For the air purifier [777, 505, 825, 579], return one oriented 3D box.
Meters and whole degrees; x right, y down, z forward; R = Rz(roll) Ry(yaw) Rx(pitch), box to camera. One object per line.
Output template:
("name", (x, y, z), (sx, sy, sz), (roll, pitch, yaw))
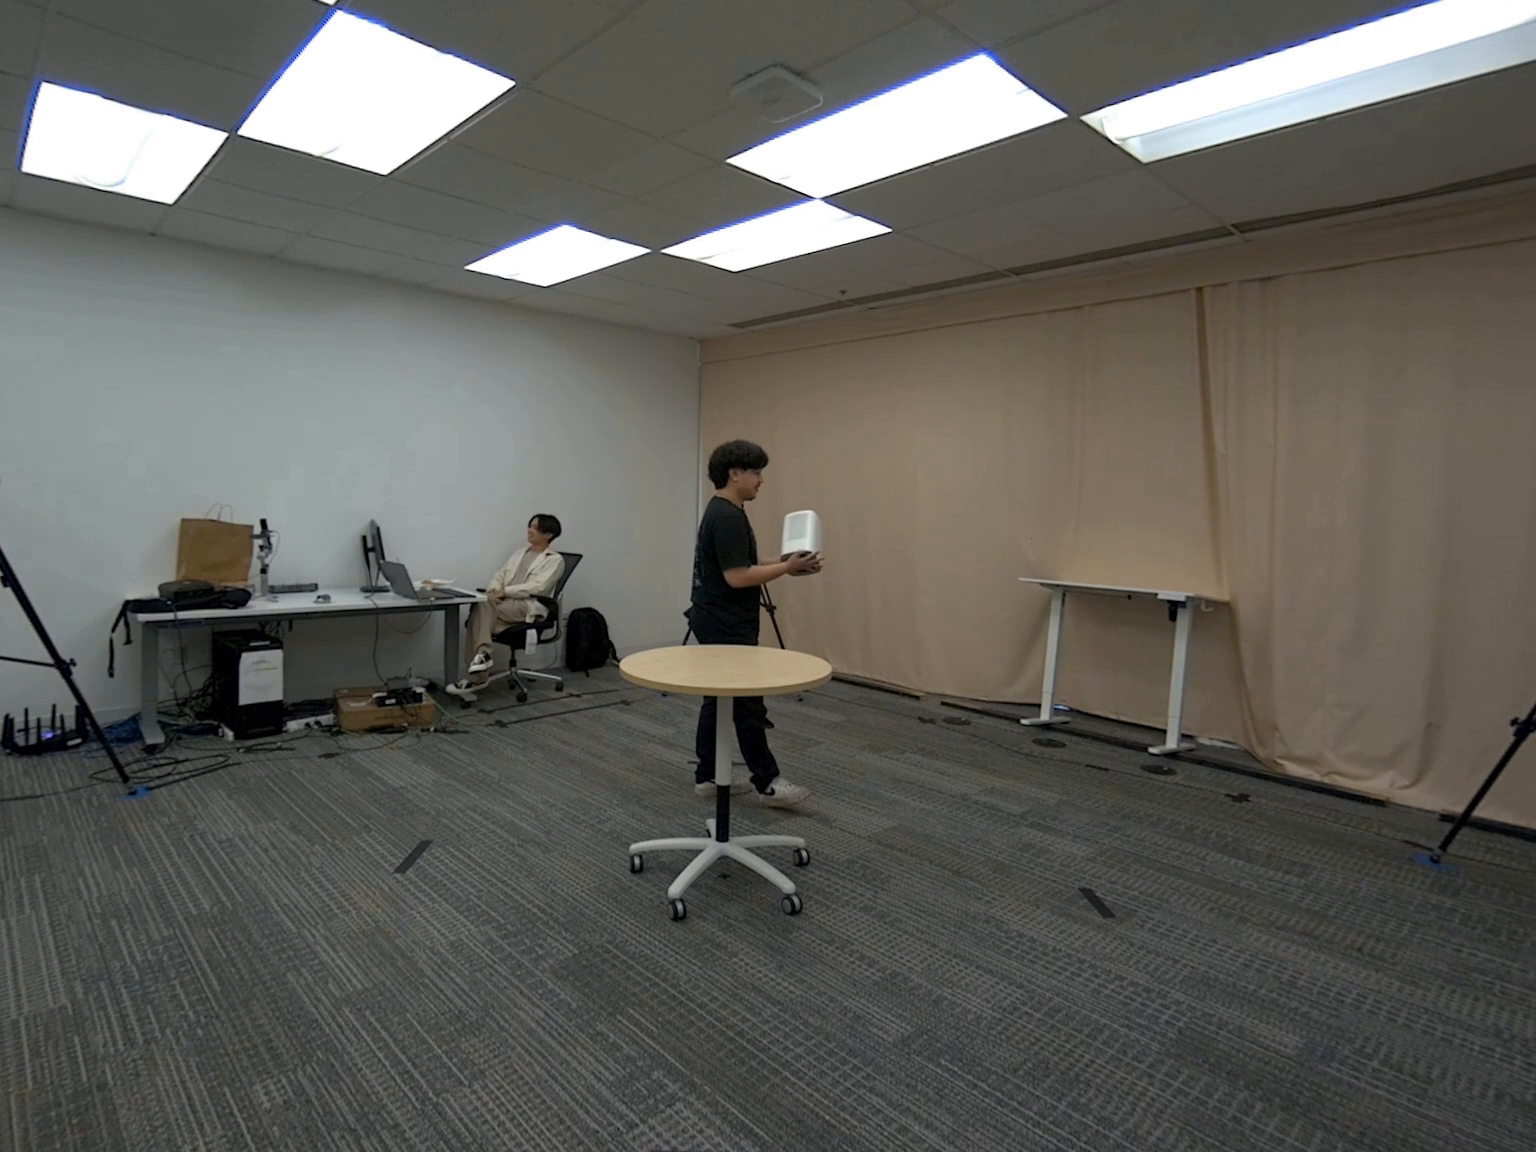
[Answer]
("air purifier", (0.154, -0.160, 3.908), (0.173, 0.270, 0.166), (-9, -41, 16))
